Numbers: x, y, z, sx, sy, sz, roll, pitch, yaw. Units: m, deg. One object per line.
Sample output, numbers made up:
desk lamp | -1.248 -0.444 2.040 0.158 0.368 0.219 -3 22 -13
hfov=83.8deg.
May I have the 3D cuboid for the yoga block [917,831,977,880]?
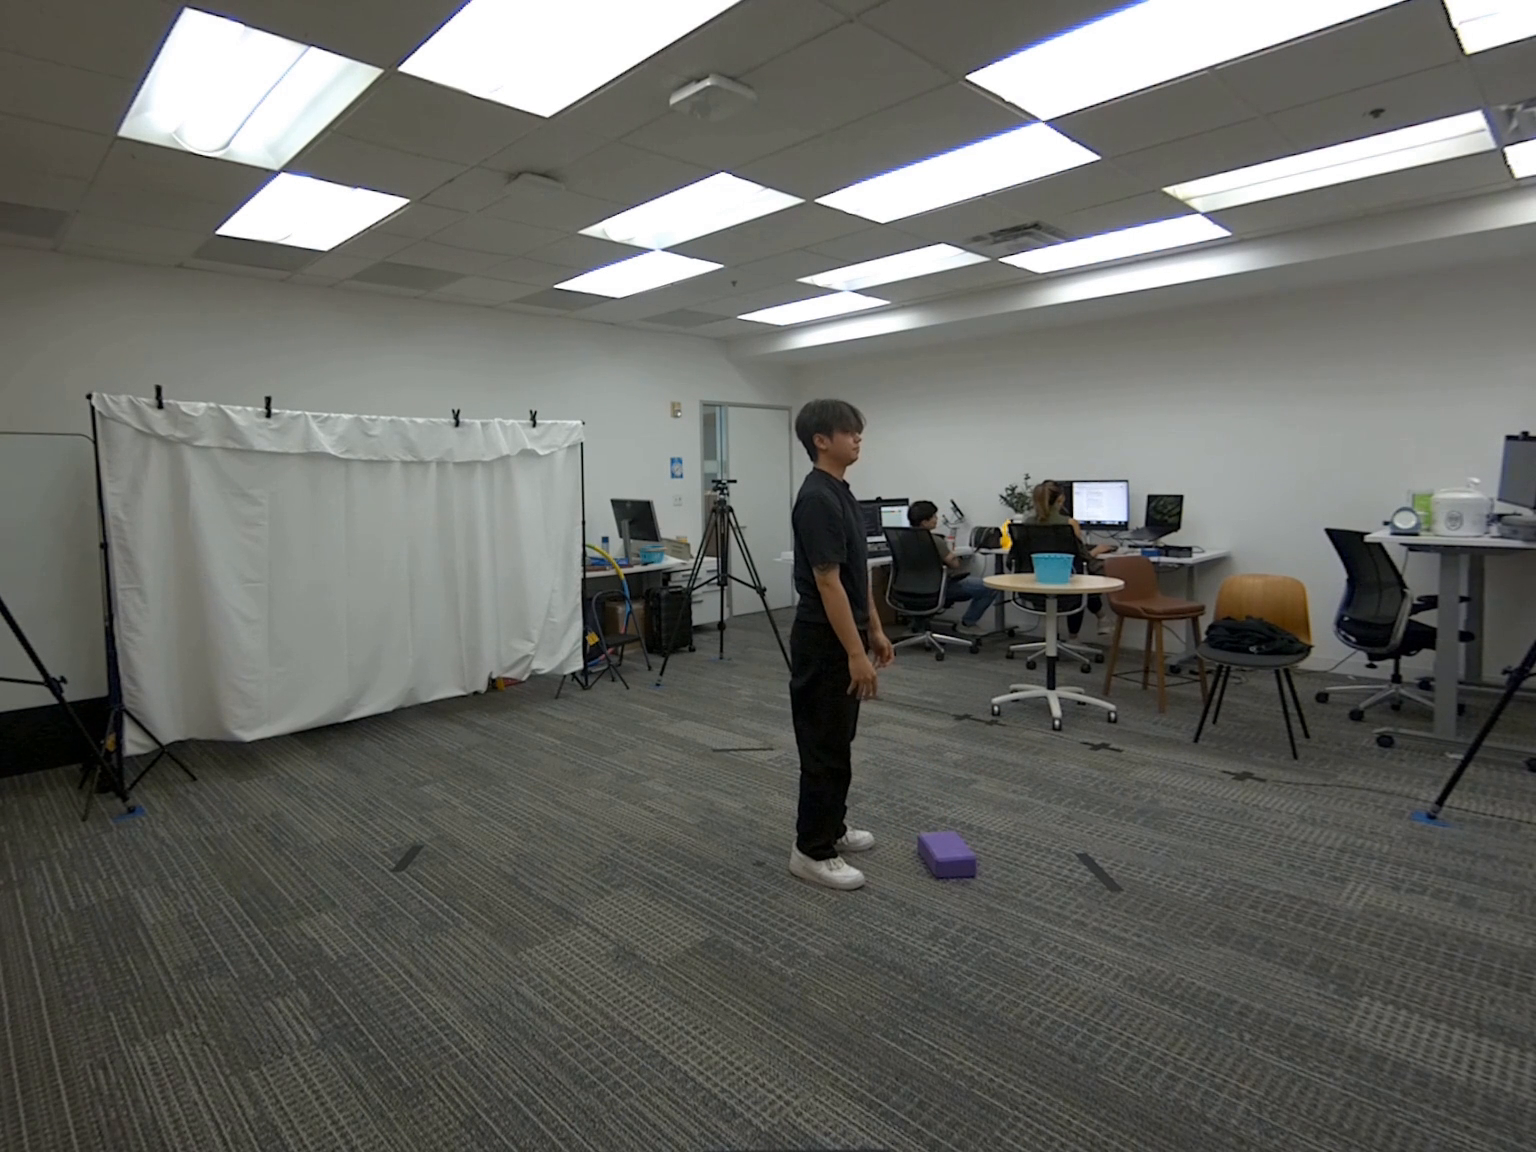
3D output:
yoga block | 0.634 0.990 3.064 0.148 0.076 0.230 -3 4 -4
